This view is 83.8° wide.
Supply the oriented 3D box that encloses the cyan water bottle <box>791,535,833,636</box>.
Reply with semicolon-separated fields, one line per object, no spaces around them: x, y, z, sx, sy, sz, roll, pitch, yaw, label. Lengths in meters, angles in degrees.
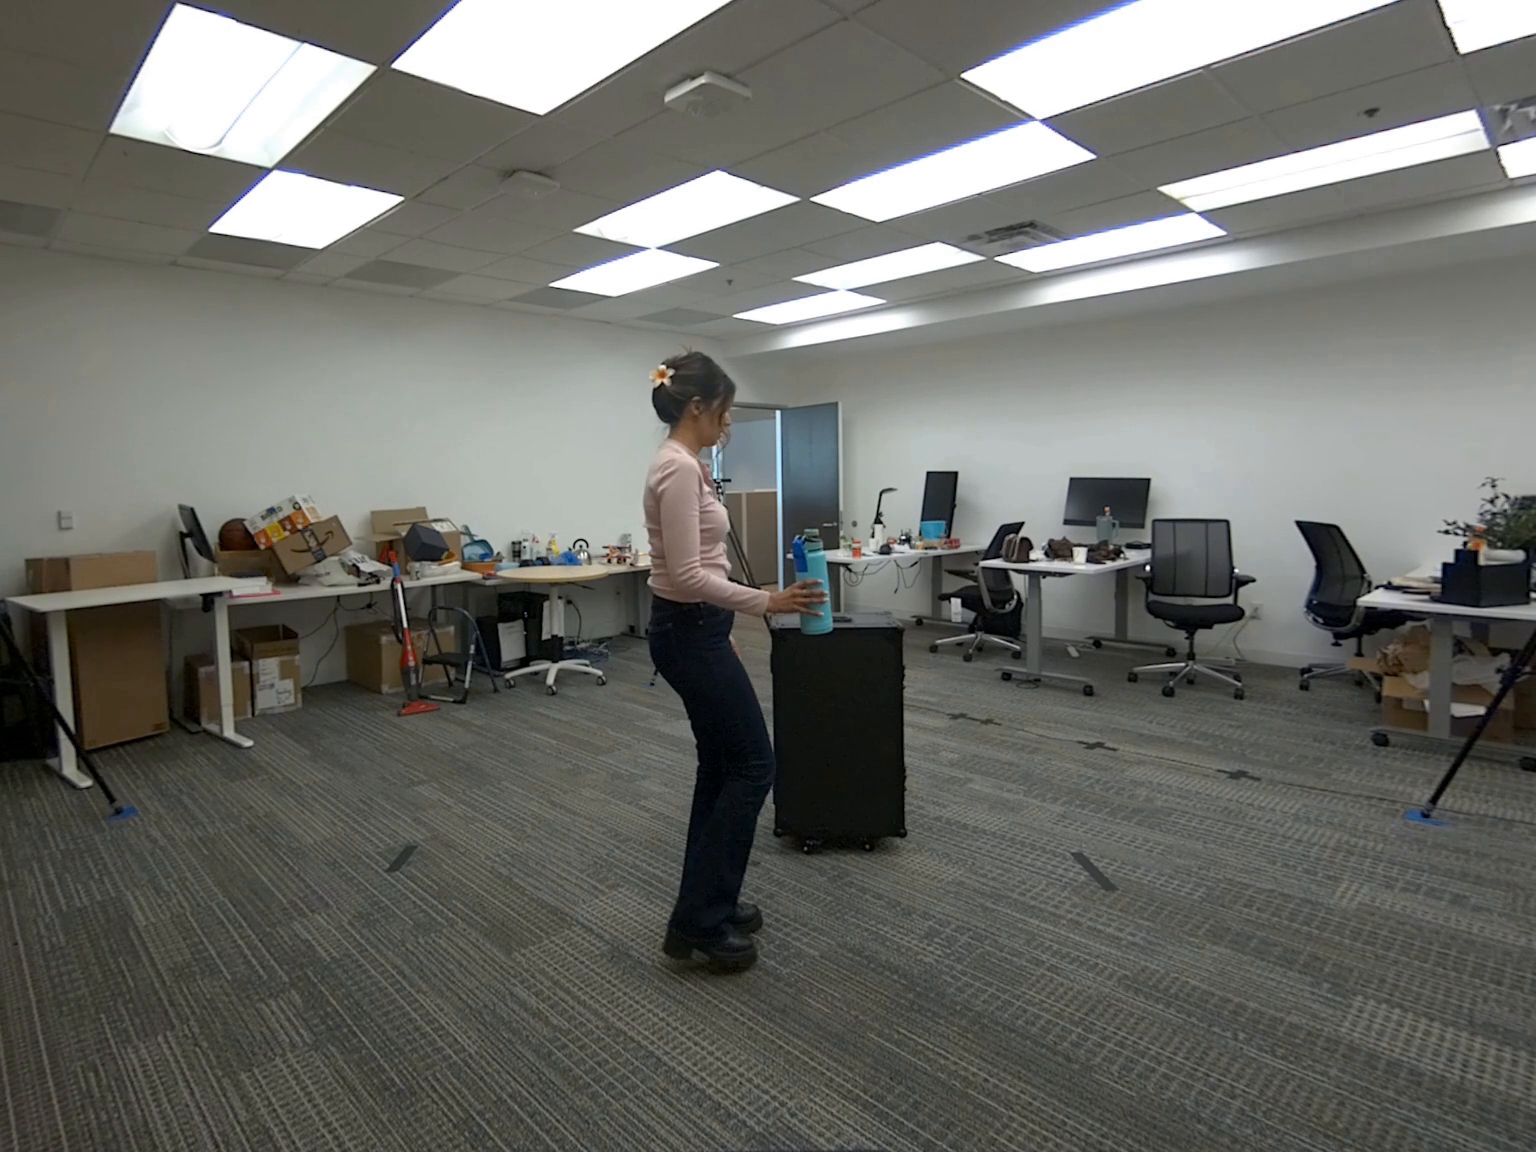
0.121;0.014;2.374;0.092;0.280;0.093;-8;10;0;cyan water bottle
